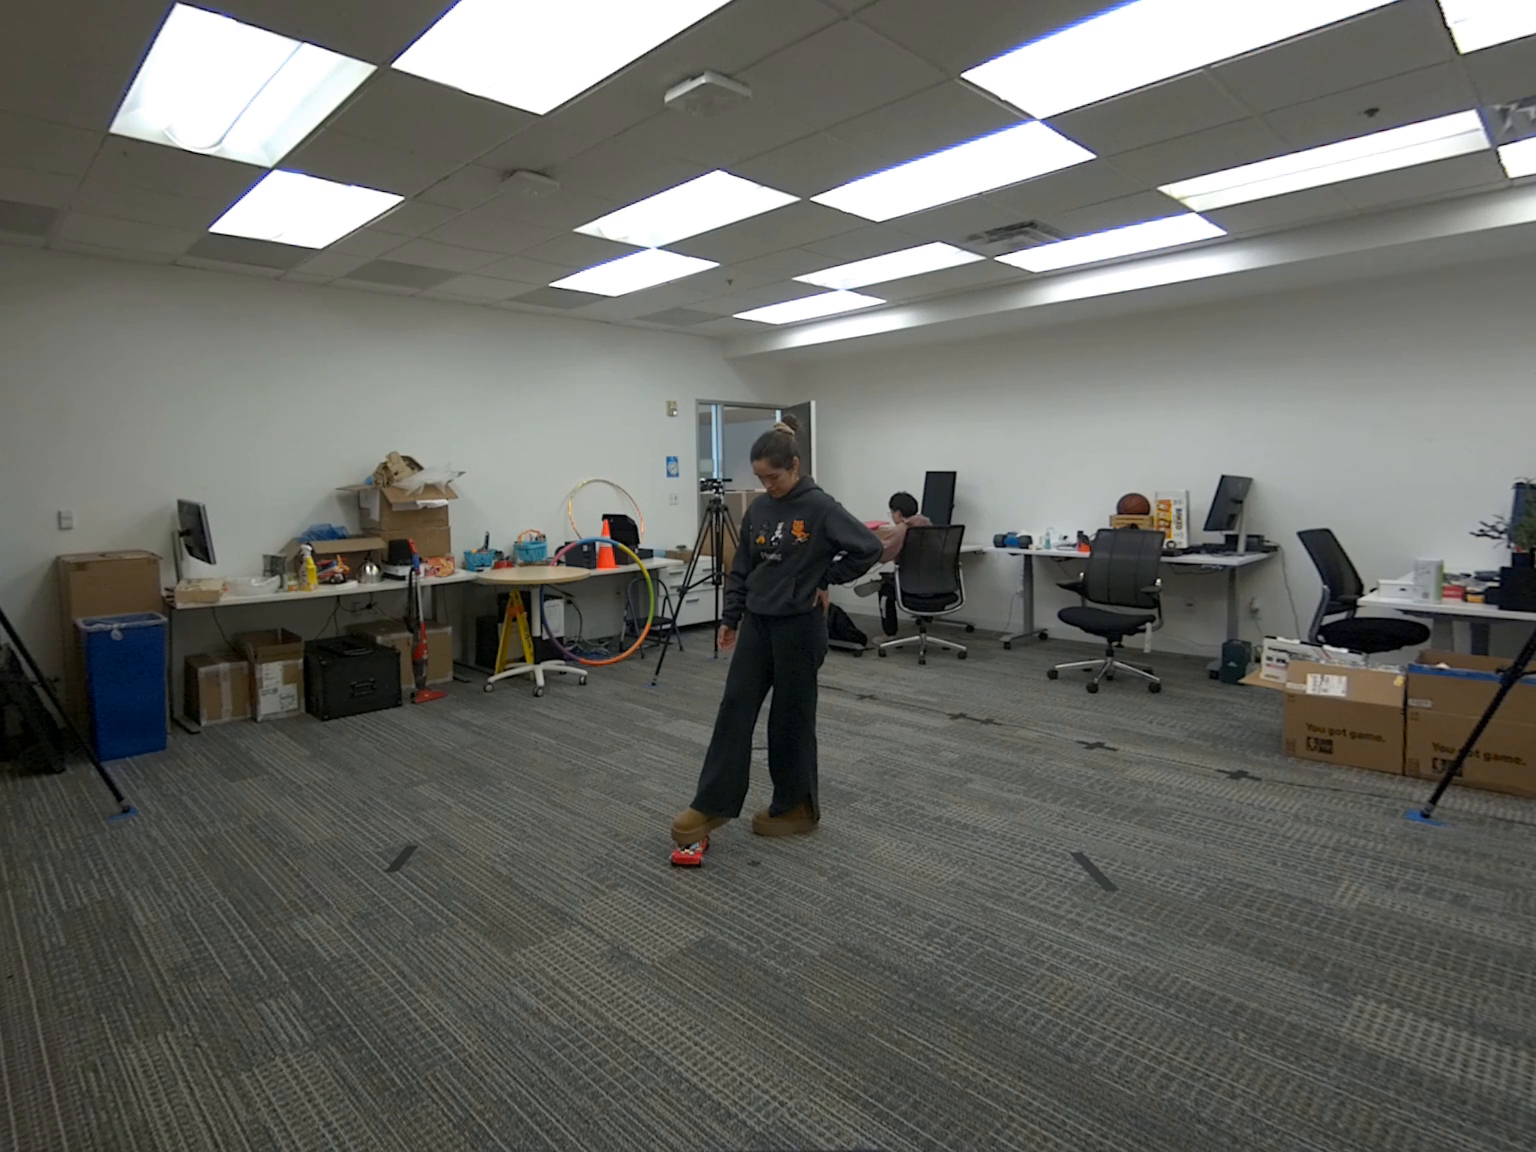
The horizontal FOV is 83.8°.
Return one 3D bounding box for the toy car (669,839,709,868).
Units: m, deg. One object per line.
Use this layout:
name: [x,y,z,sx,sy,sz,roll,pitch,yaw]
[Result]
toy car: [-0.283,1.010,3.180,0.131,0.082,0.256,1,17,6]
